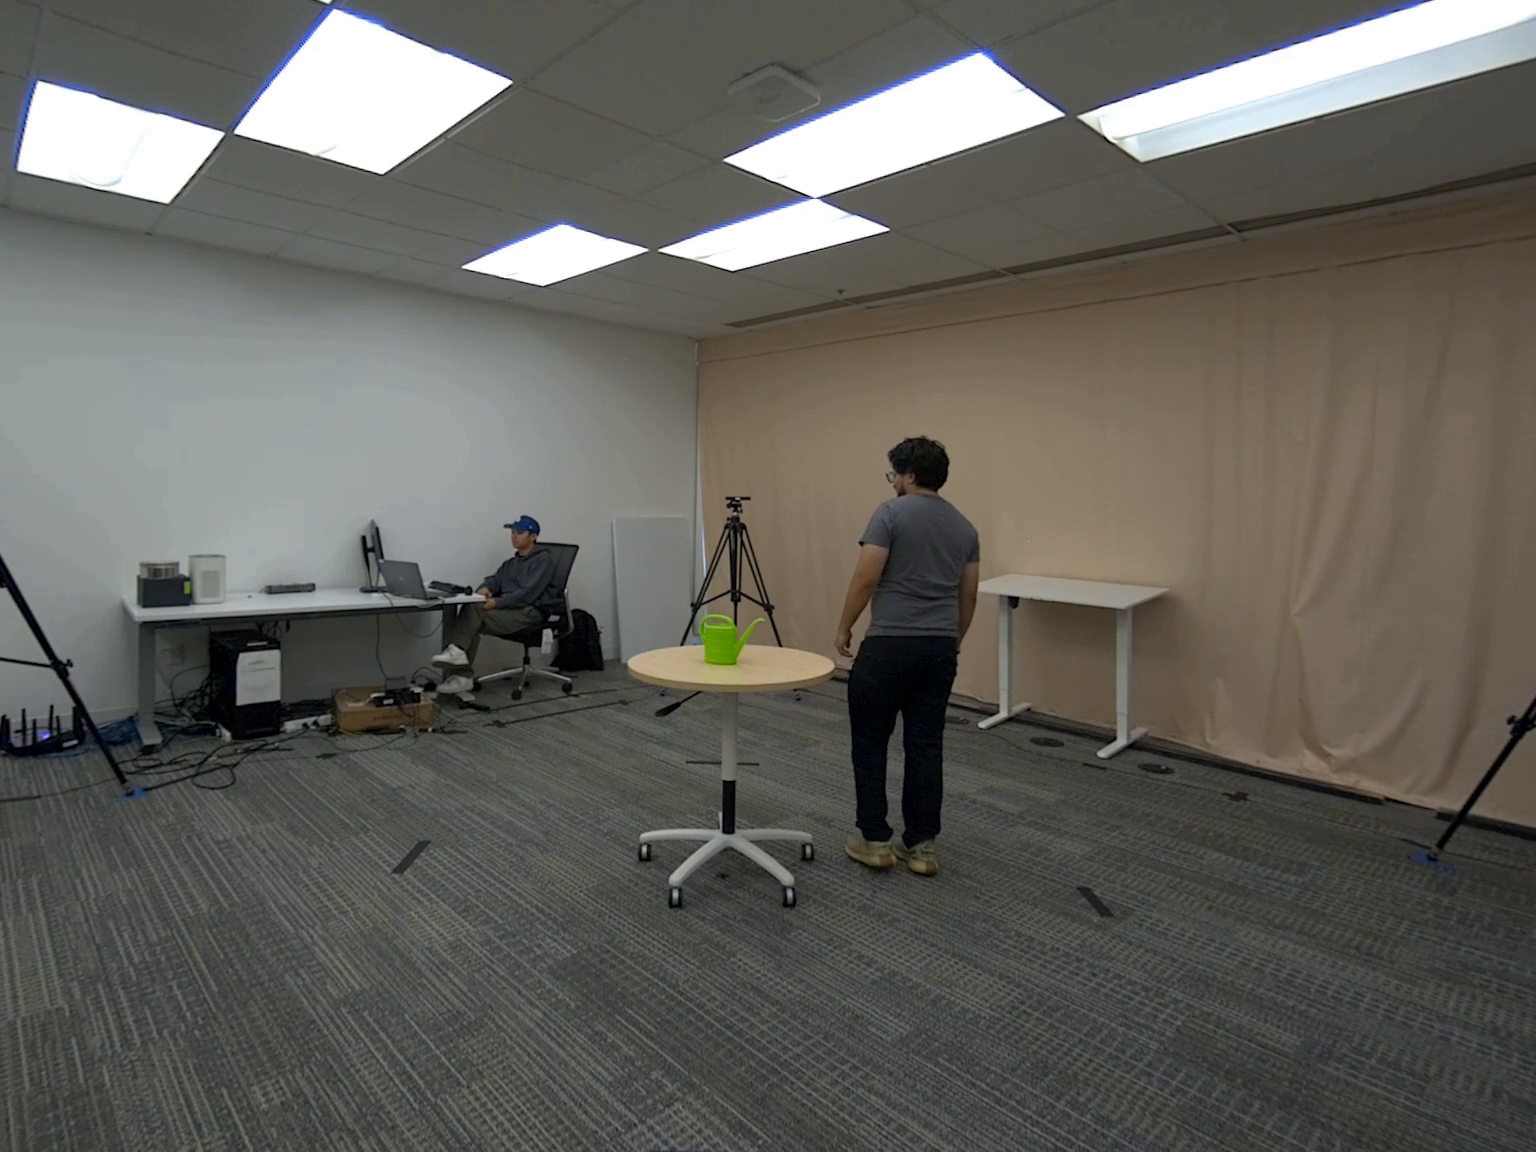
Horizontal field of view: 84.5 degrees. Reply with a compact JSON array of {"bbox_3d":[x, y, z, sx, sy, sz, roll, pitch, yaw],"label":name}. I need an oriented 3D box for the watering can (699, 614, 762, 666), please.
[{"bbox_3d":[-0.152,0.238,3.083,0.285,0.176,0.096,5,7,45],"label":"watering can"}]
